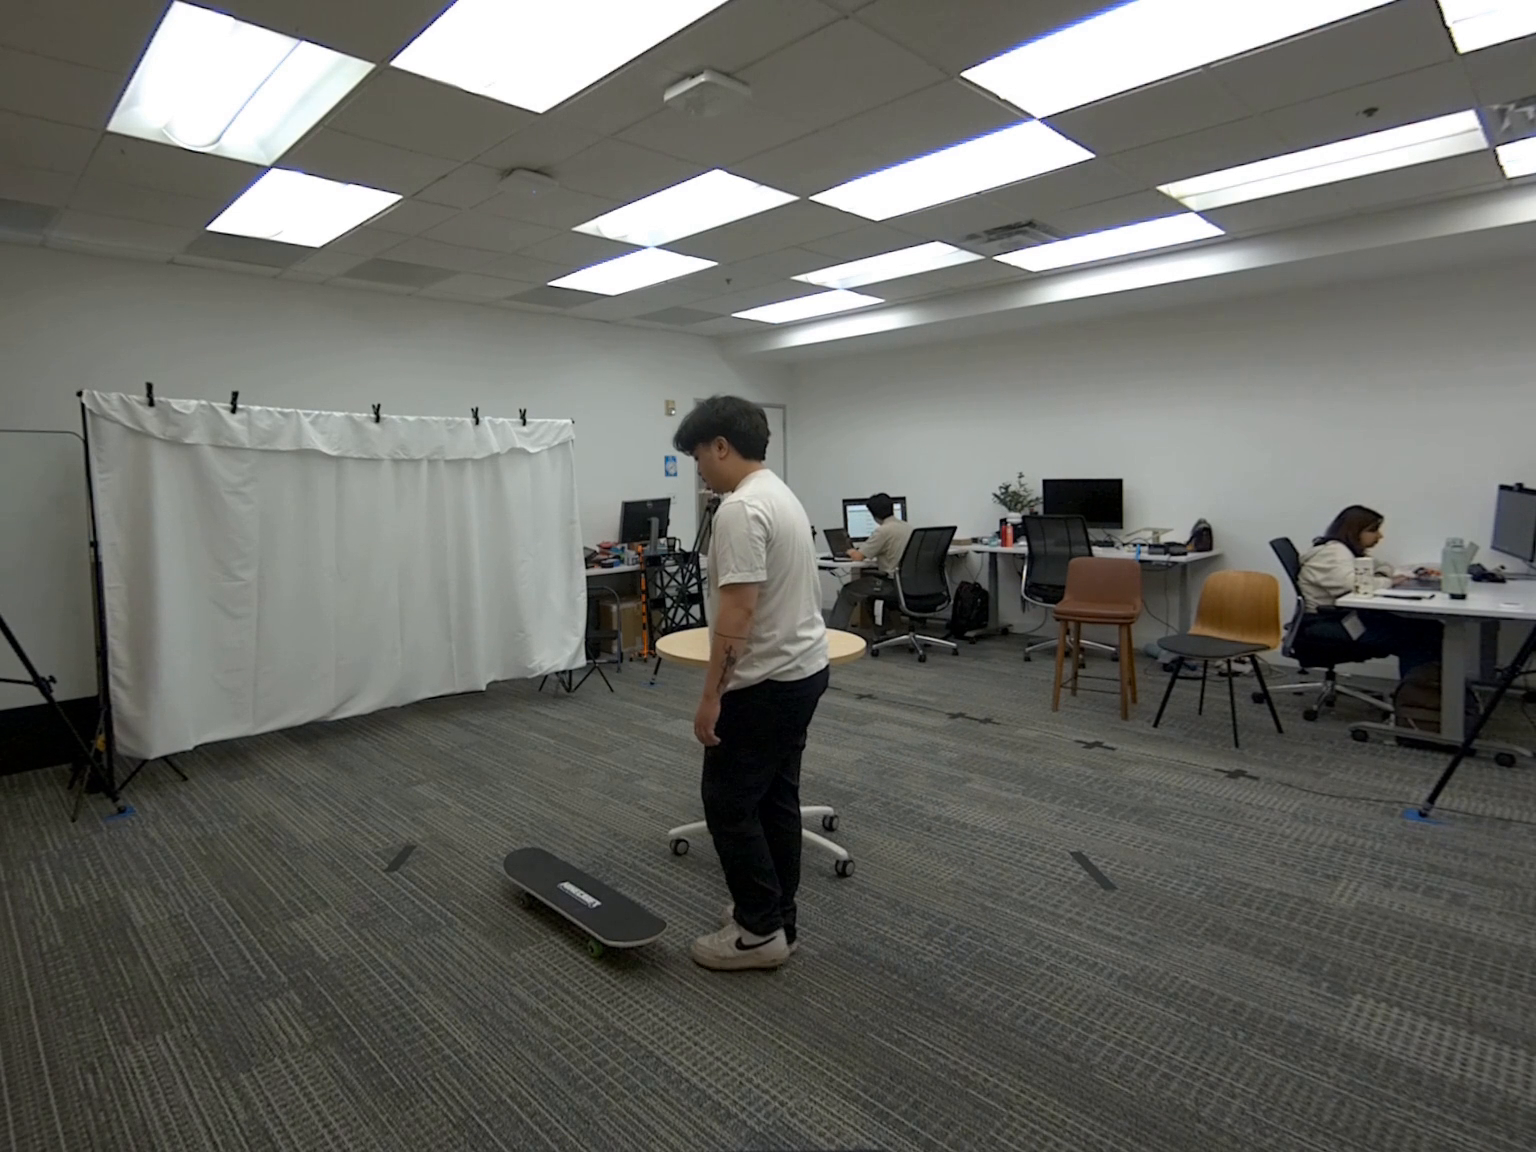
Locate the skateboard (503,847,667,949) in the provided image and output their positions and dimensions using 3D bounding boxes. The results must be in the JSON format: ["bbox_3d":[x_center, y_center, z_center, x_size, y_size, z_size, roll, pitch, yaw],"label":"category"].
[{"bbox_3d":[-0.594,1.050,2.701,0.188,0.110,0.810,-7,9,-44],"label":"skateboard"}]
